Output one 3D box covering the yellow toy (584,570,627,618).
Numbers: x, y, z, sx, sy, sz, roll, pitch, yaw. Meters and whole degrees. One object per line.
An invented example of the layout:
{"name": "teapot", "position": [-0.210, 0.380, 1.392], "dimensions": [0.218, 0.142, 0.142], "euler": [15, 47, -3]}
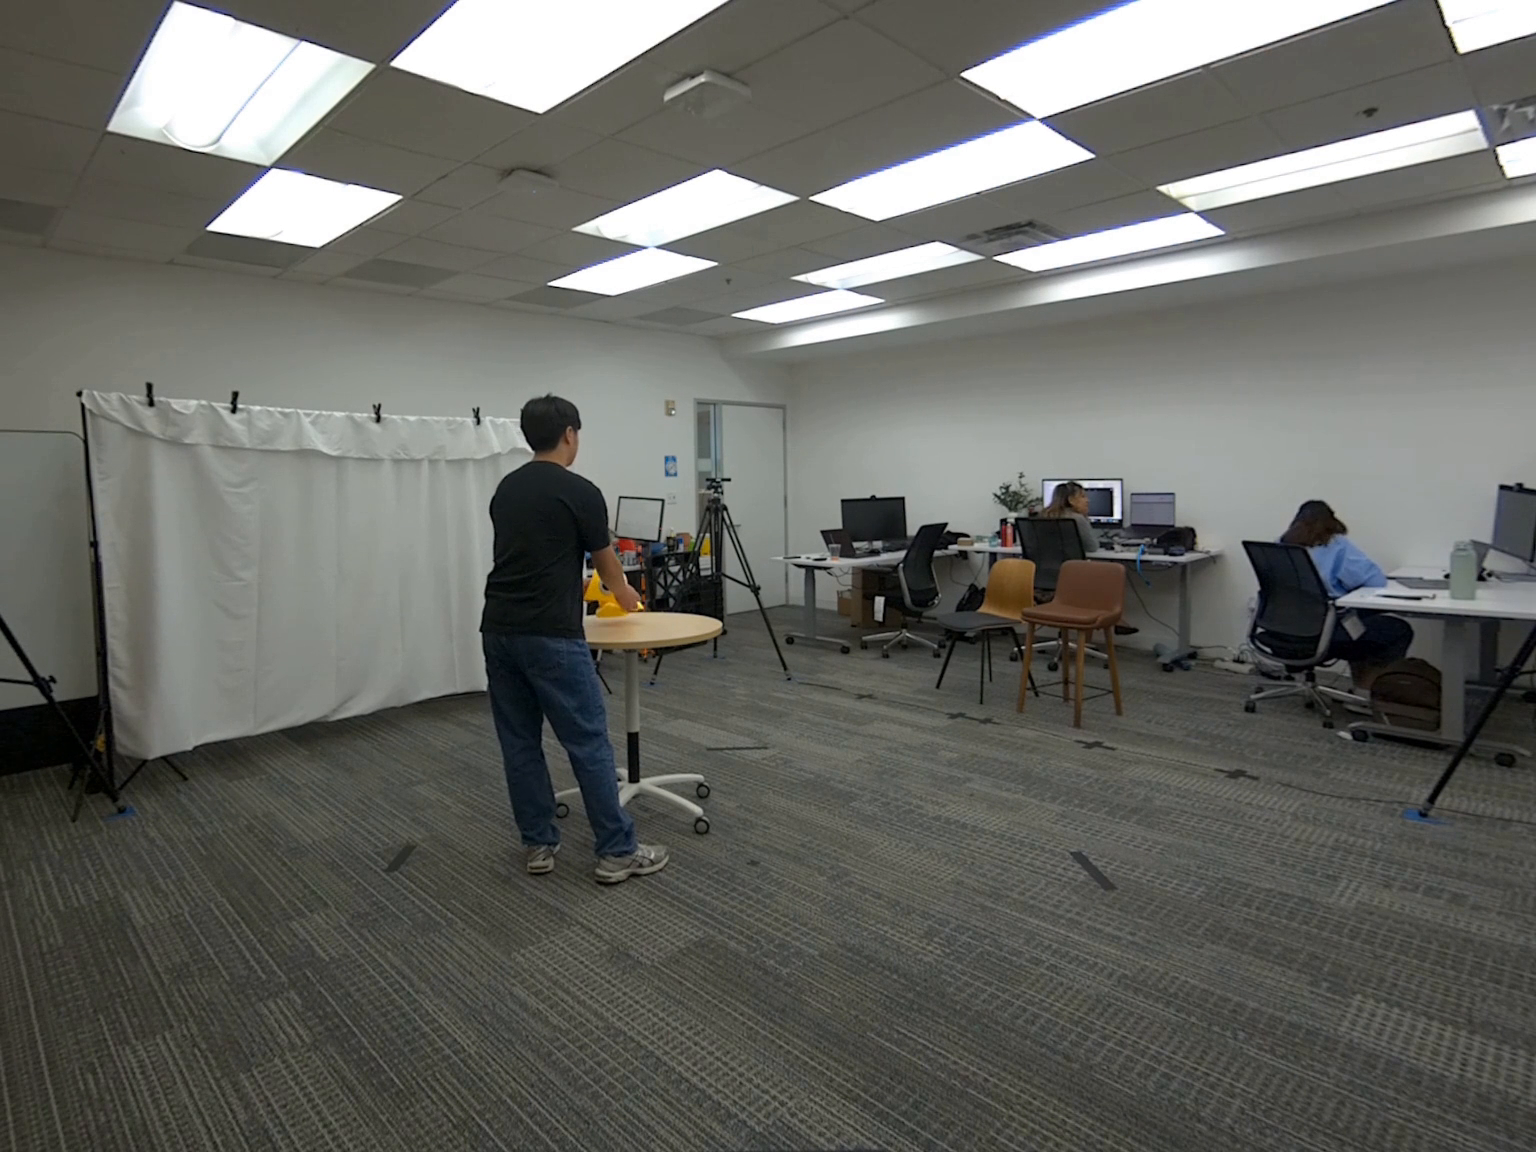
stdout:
{"name": "yellow toy", "position": [-0.650, 0.046, 3.595], "dimensions": [0.197, 0.229, 0.202], "euler": [-2, 7, 24]}
